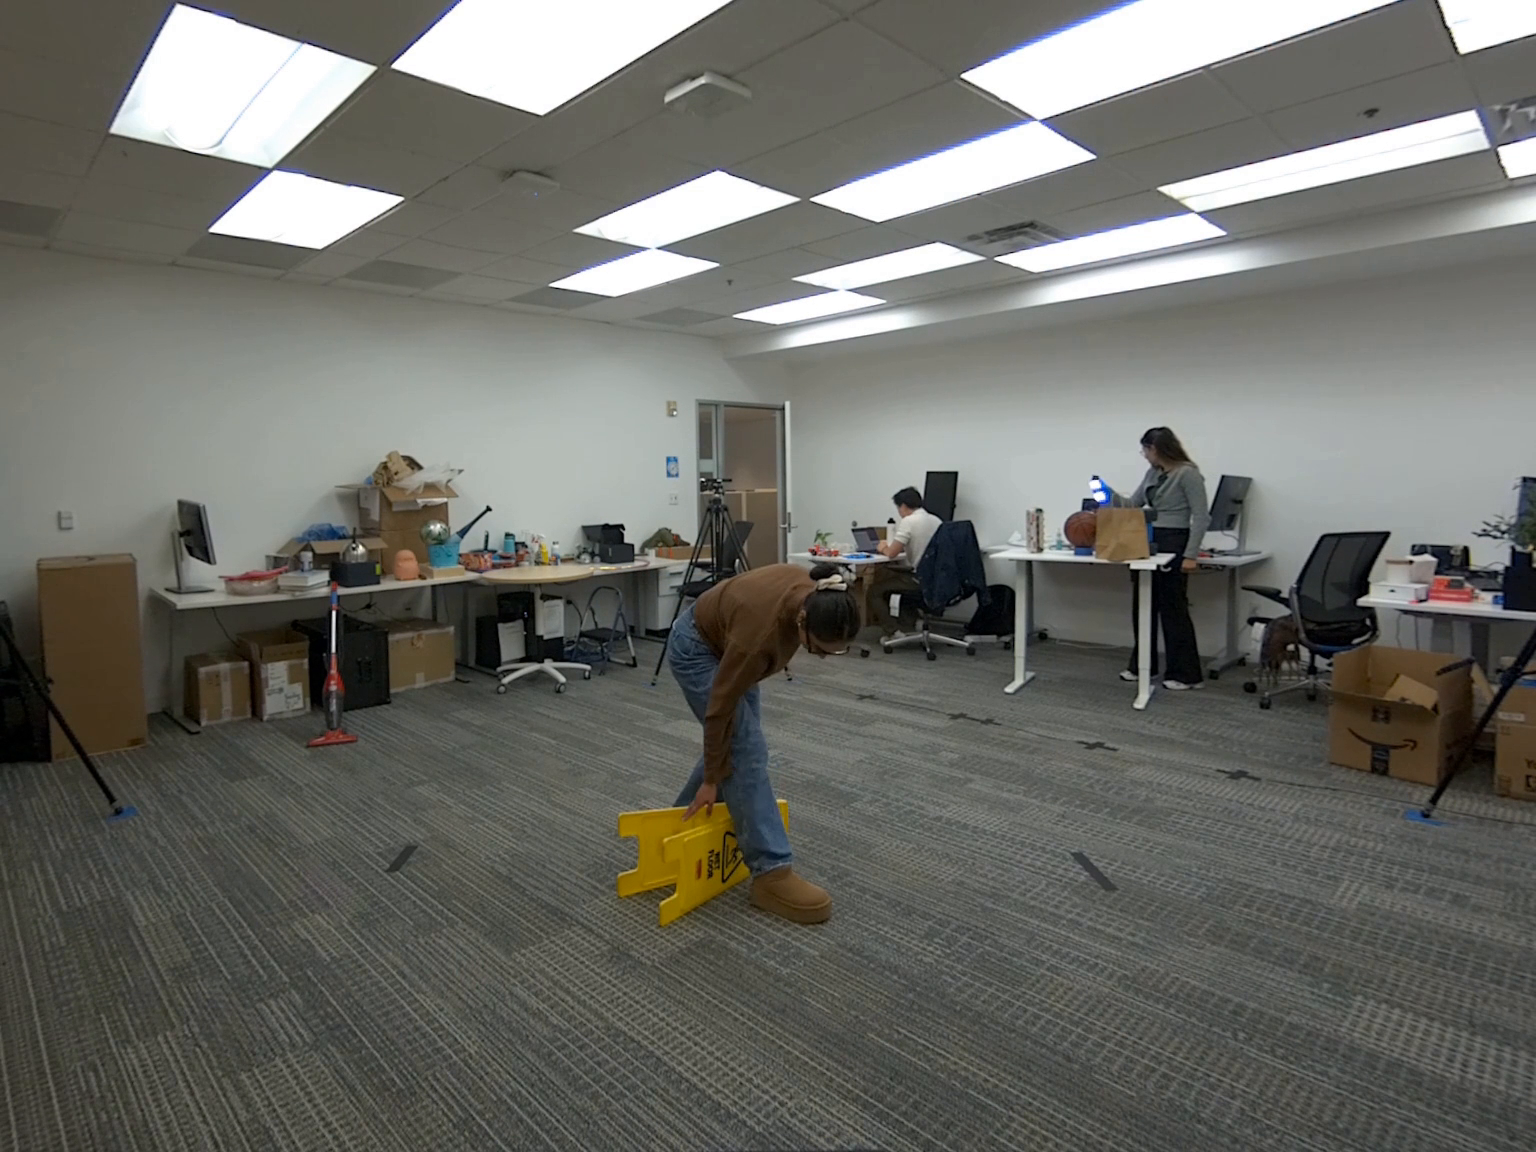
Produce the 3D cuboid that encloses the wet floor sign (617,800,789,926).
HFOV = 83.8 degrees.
[{"bbox_3d":[-0.178,0.935,2.967,0.628,0.281,0.299,-2,5,-40],"label":"wet floor sign"}]
